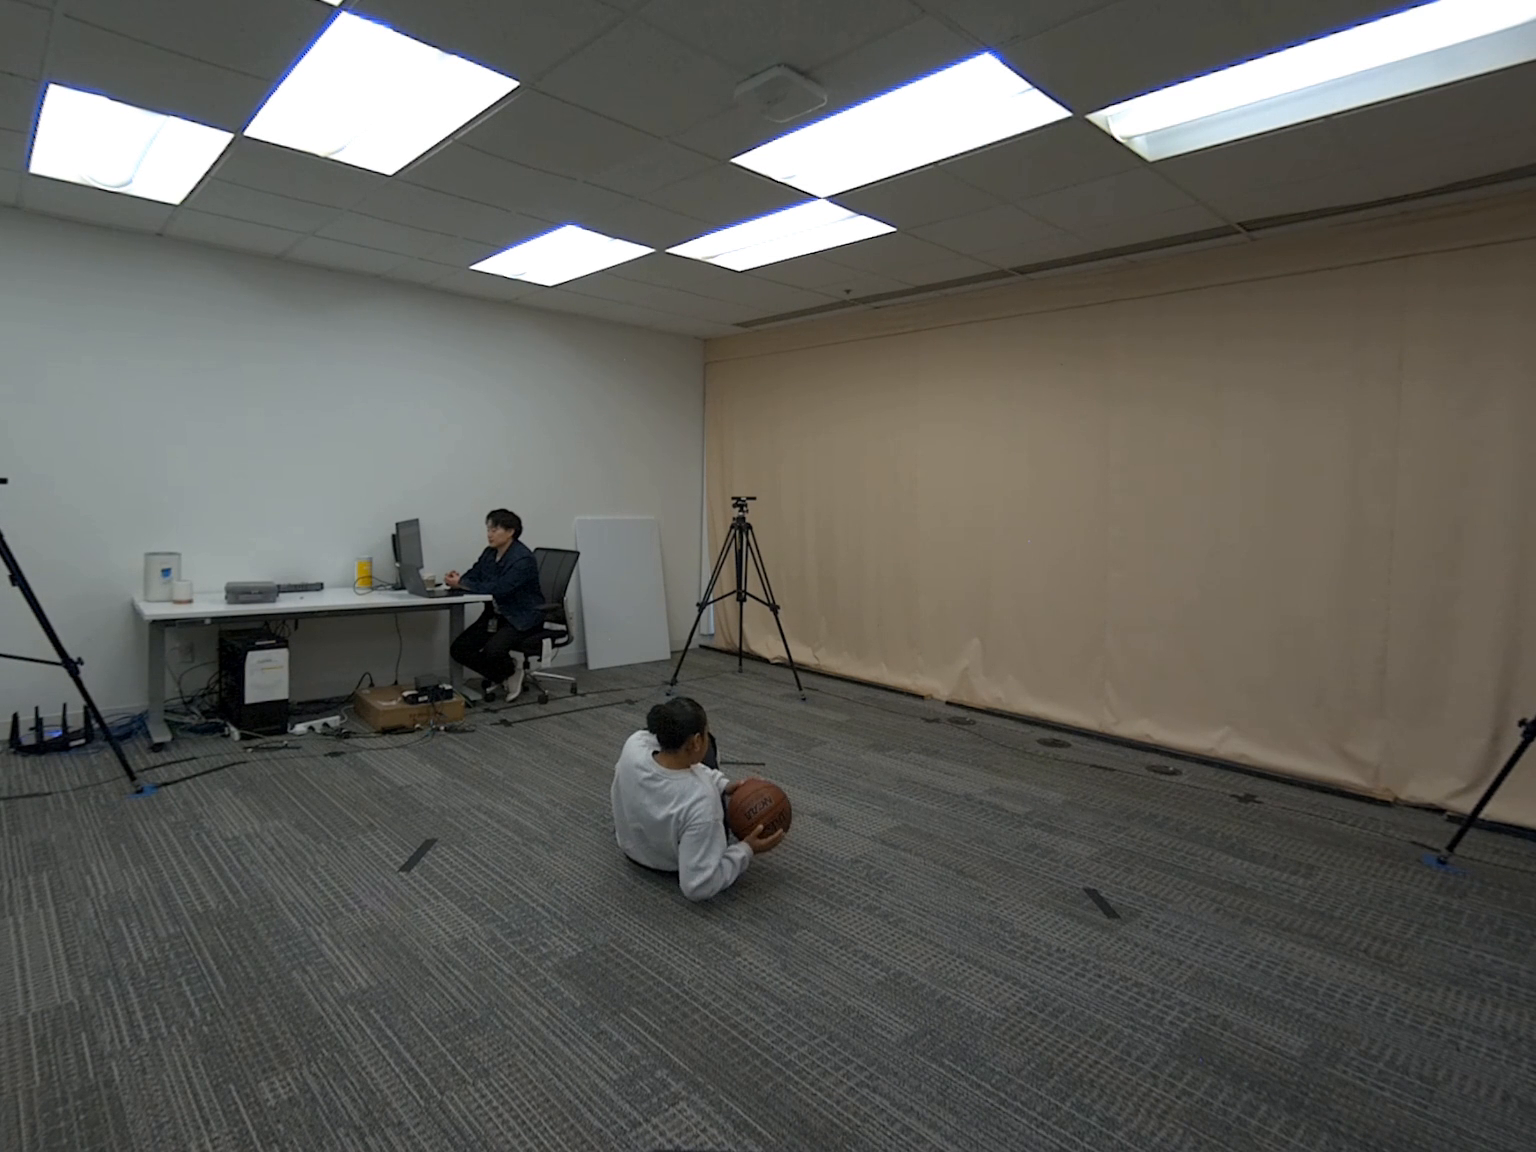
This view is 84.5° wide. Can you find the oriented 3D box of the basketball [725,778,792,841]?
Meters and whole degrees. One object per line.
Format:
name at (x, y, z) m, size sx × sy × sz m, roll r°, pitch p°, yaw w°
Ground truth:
basketball at (-0.050, 0.855, 3.095) m, size 0.236 × 0.235 × 0.237 m, roll 1°, pitch 4°, yaw -1°
